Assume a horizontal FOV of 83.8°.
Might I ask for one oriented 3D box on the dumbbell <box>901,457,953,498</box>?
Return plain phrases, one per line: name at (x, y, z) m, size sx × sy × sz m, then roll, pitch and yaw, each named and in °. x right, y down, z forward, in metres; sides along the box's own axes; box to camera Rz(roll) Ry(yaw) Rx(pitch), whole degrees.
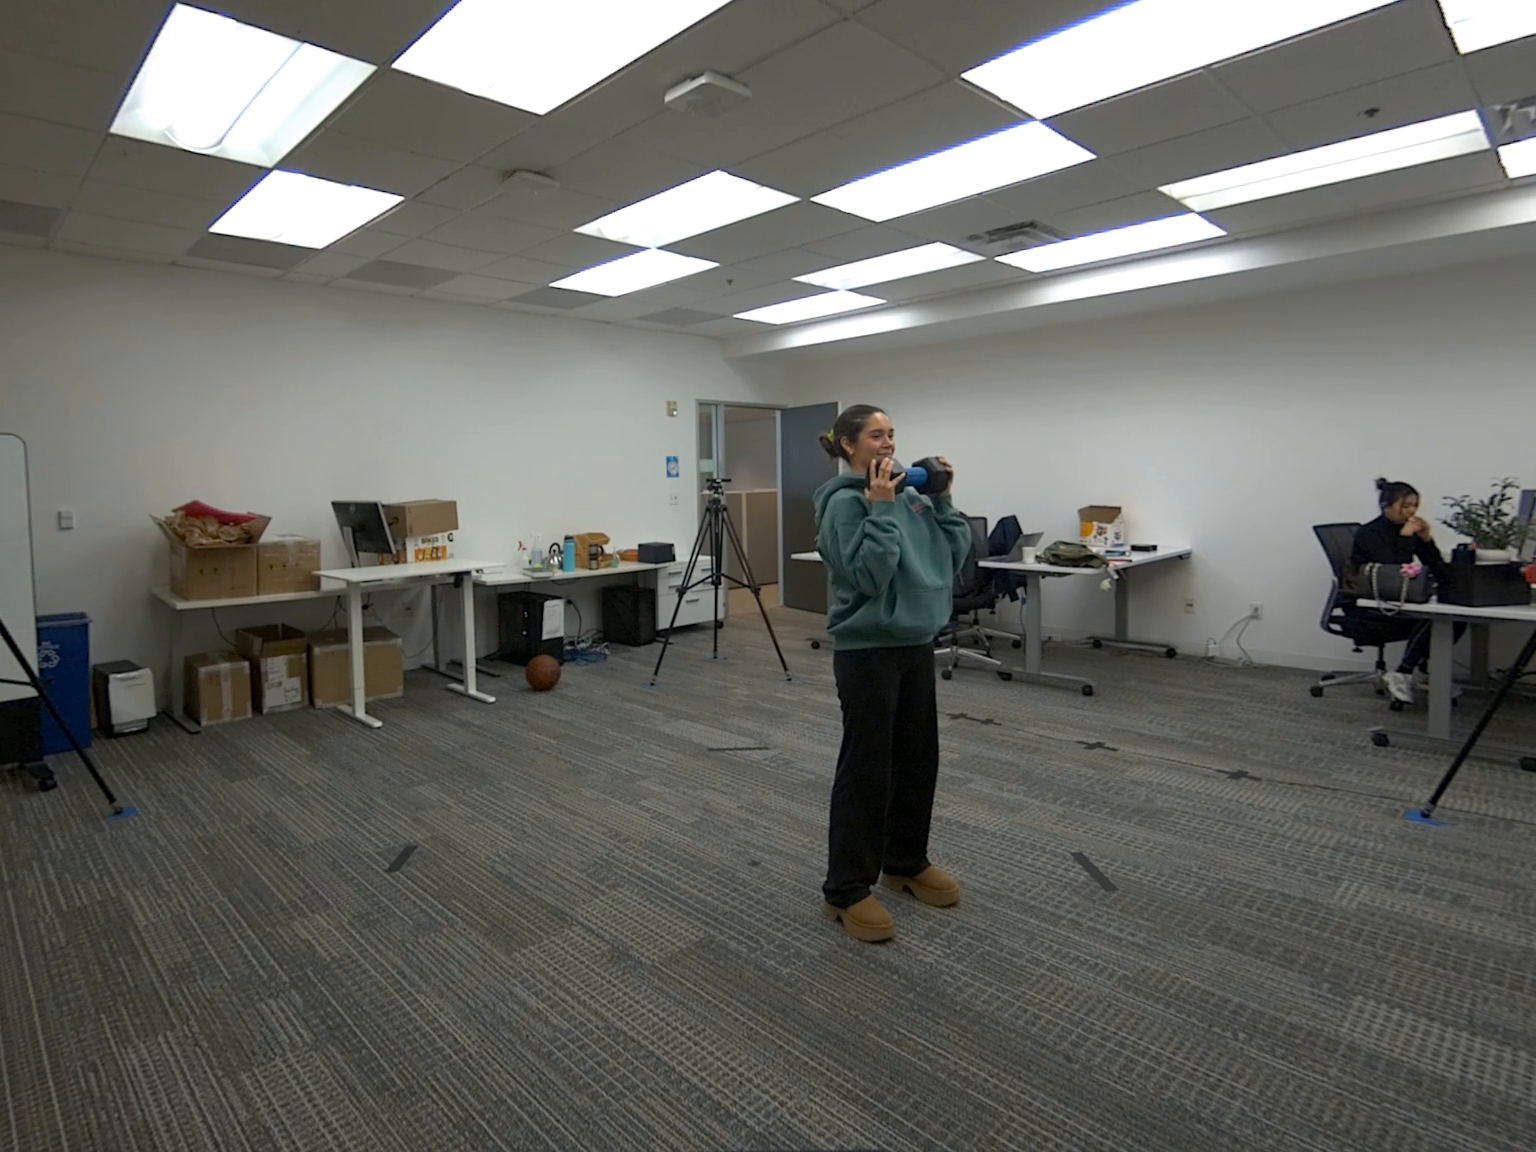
dumbbell at (0.428, -0.304, 2.632) m, size 0.286 × 0.121 × 0.113 m, roll -8°, pitch 25°, yaw -42°
